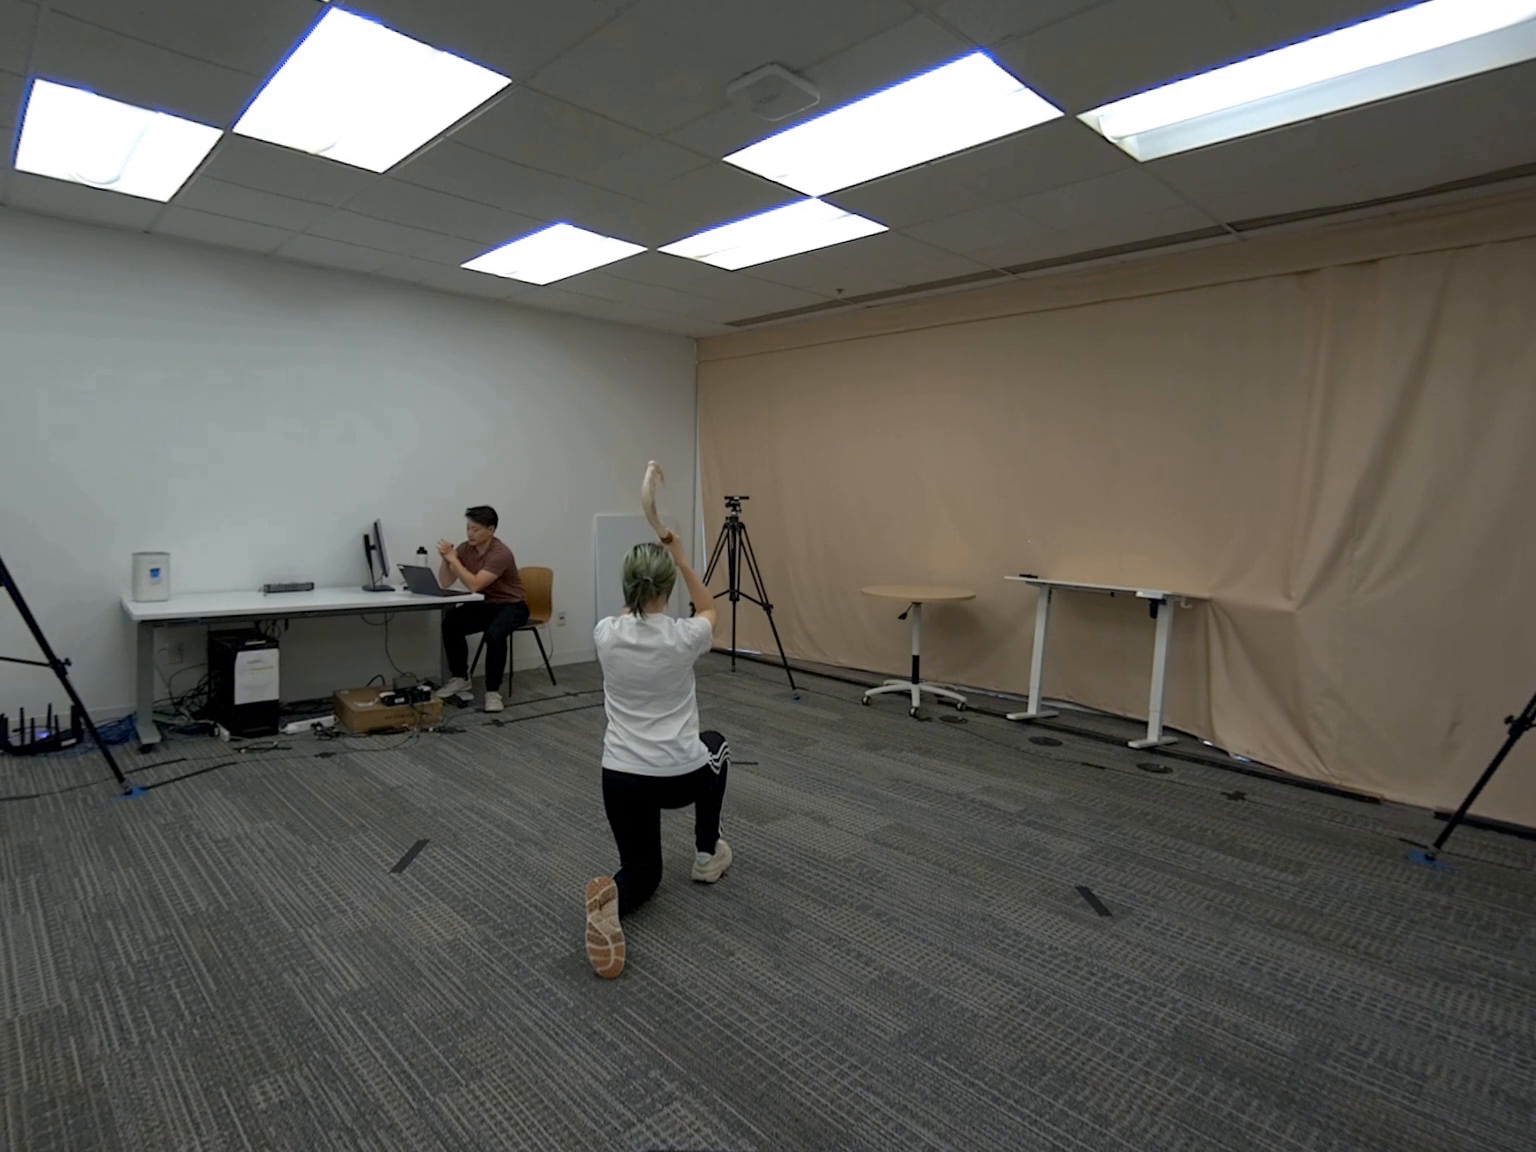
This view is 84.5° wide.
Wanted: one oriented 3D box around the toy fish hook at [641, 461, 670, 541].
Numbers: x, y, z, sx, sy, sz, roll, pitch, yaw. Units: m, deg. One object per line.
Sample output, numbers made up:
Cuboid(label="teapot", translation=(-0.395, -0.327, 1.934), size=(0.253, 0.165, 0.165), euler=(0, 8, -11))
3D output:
Cuboid(label="toy fish hook", translation=(-0.384, -0.218, 3.066), size=(0.049, 0.228, 0.494), euler=(5, -31, 9))
